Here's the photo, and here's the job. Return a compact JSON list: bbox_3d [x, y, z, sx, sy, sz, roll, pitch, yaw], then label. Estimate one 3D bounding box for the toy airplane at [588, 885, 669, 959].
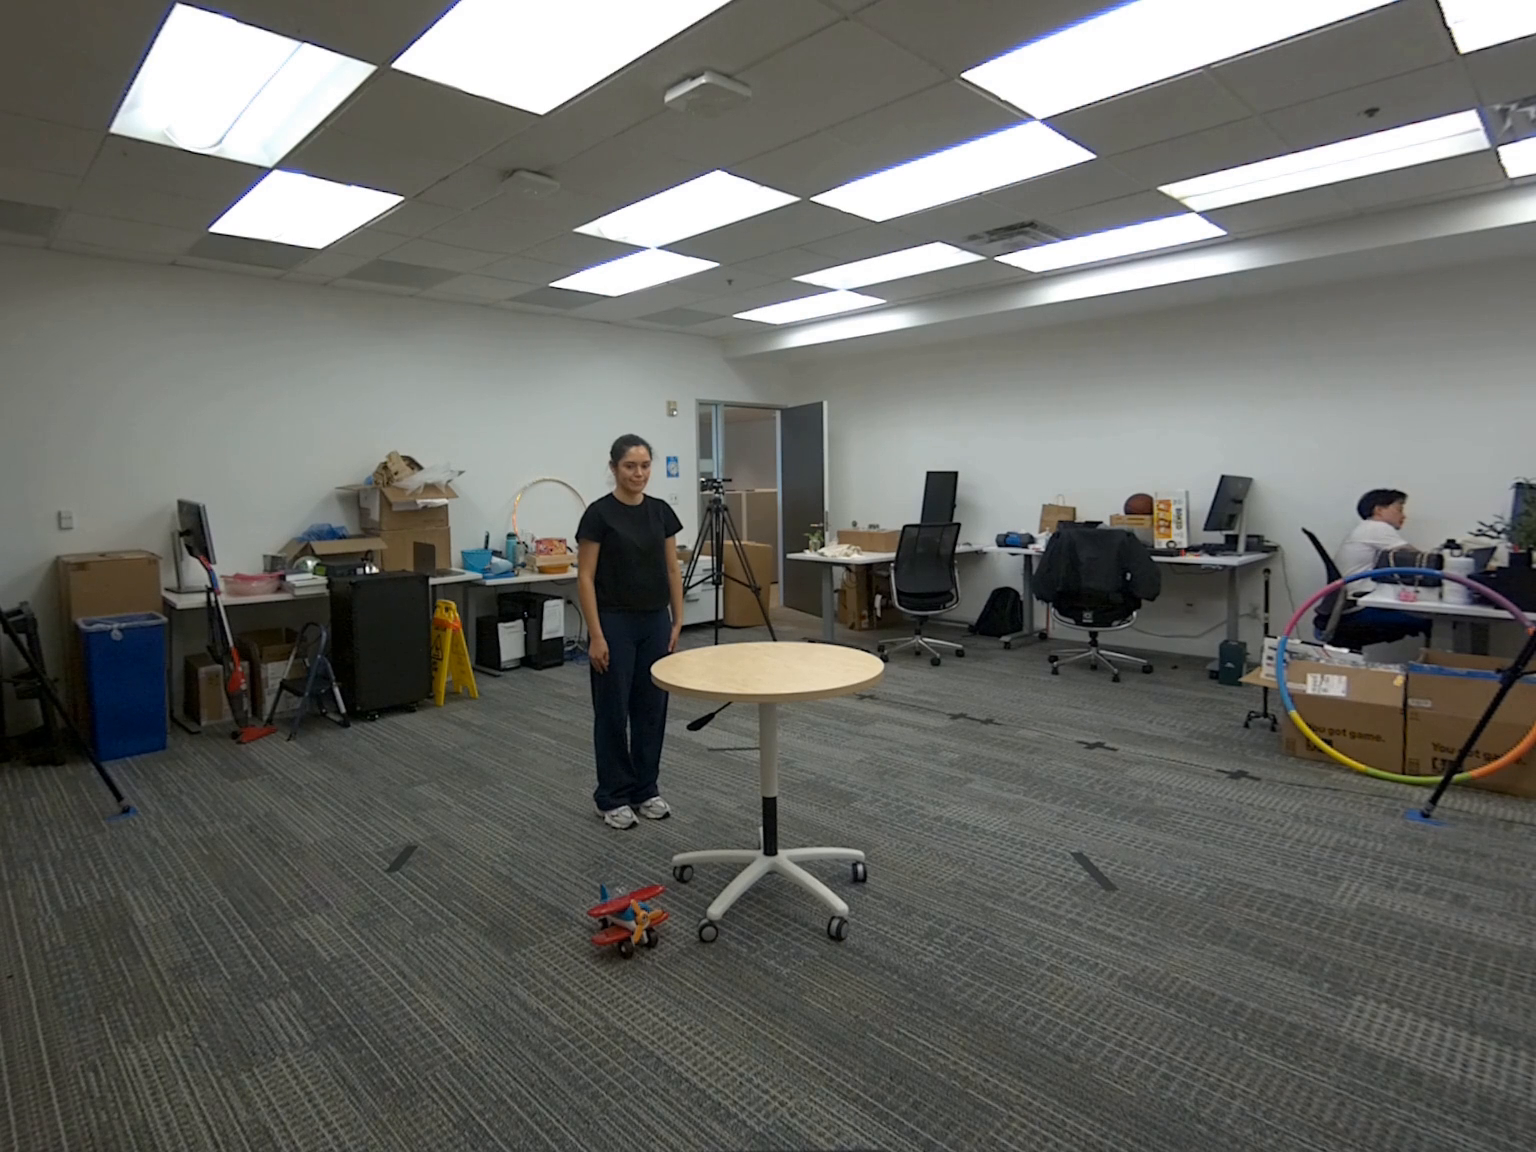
[{"bbox_3d":[-0.449,1.036,2.603,0.265,0.155,0.247,3,8,22],"label":"toy airplane"}]
